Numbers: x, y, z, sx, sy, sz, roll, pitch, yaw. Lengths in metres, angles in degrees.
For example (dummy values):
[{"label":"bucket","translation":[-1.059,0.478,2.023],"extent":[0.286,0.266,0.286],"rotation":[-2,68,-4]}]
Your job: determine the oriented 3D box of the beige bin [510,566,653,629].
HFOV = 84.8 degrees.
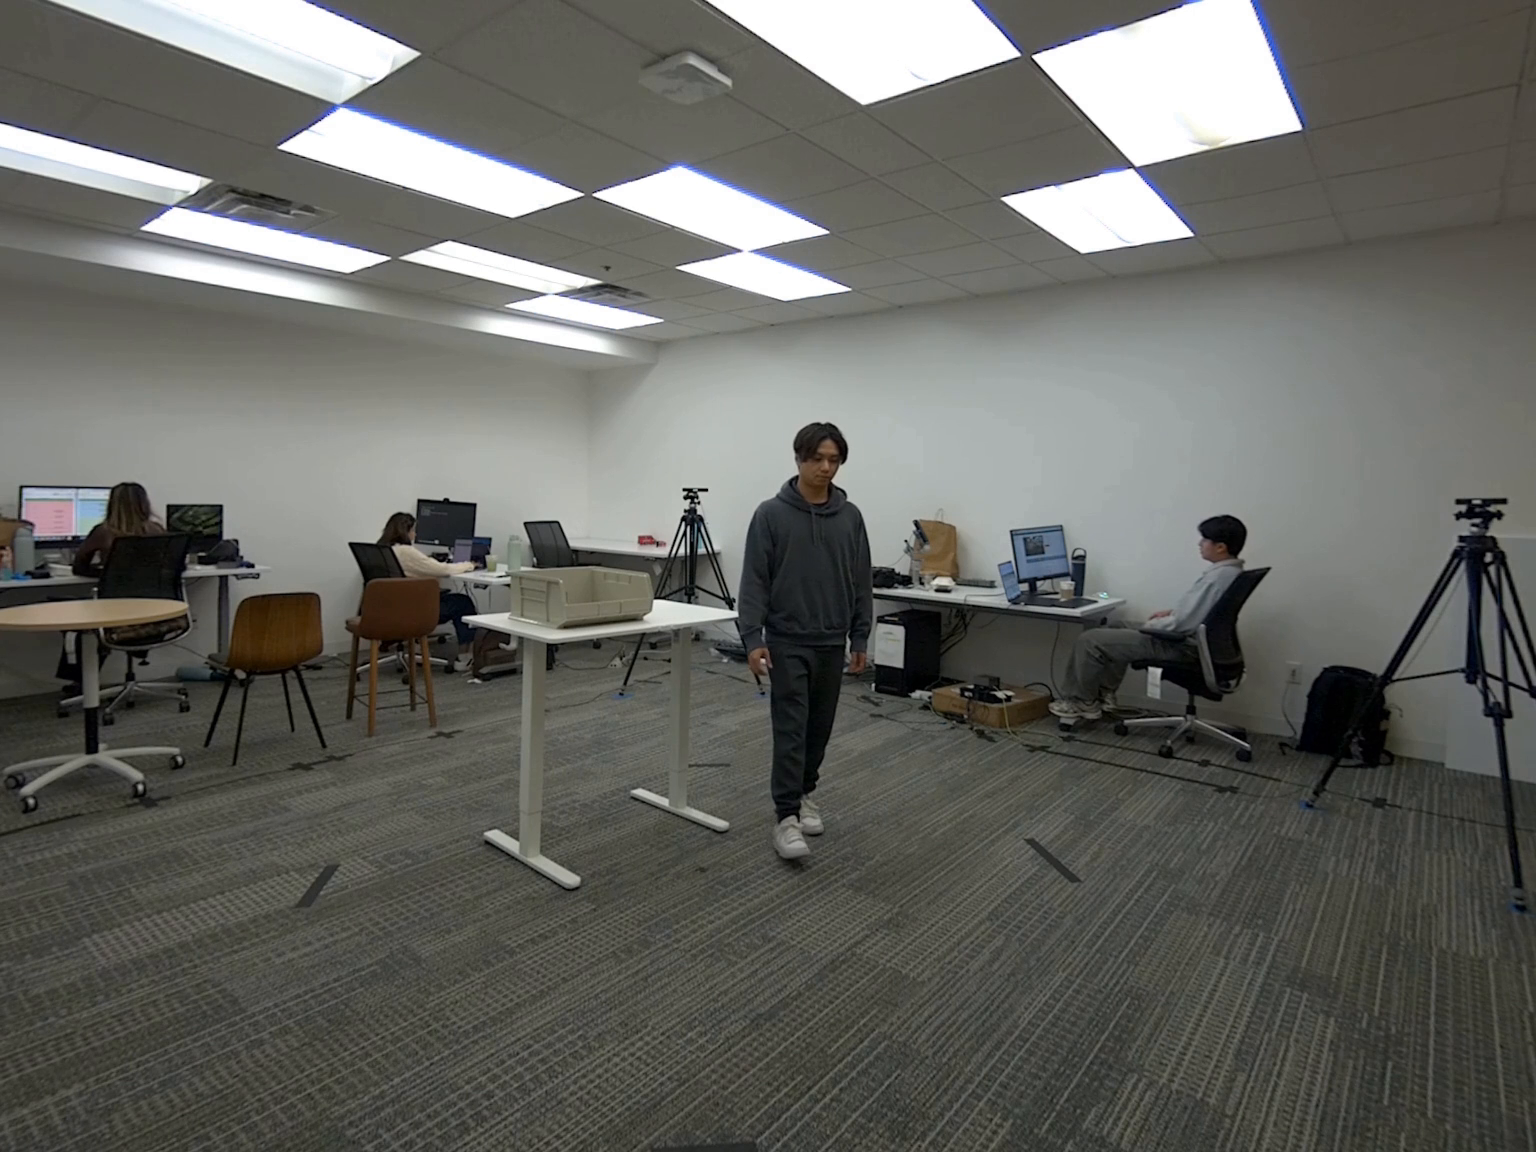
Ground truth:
[{"label":"beige bin","translation":[-0.720,0.076,3.231],"extent":[0.390,0.188,0.410],"rotation":[5,6,42]}]
